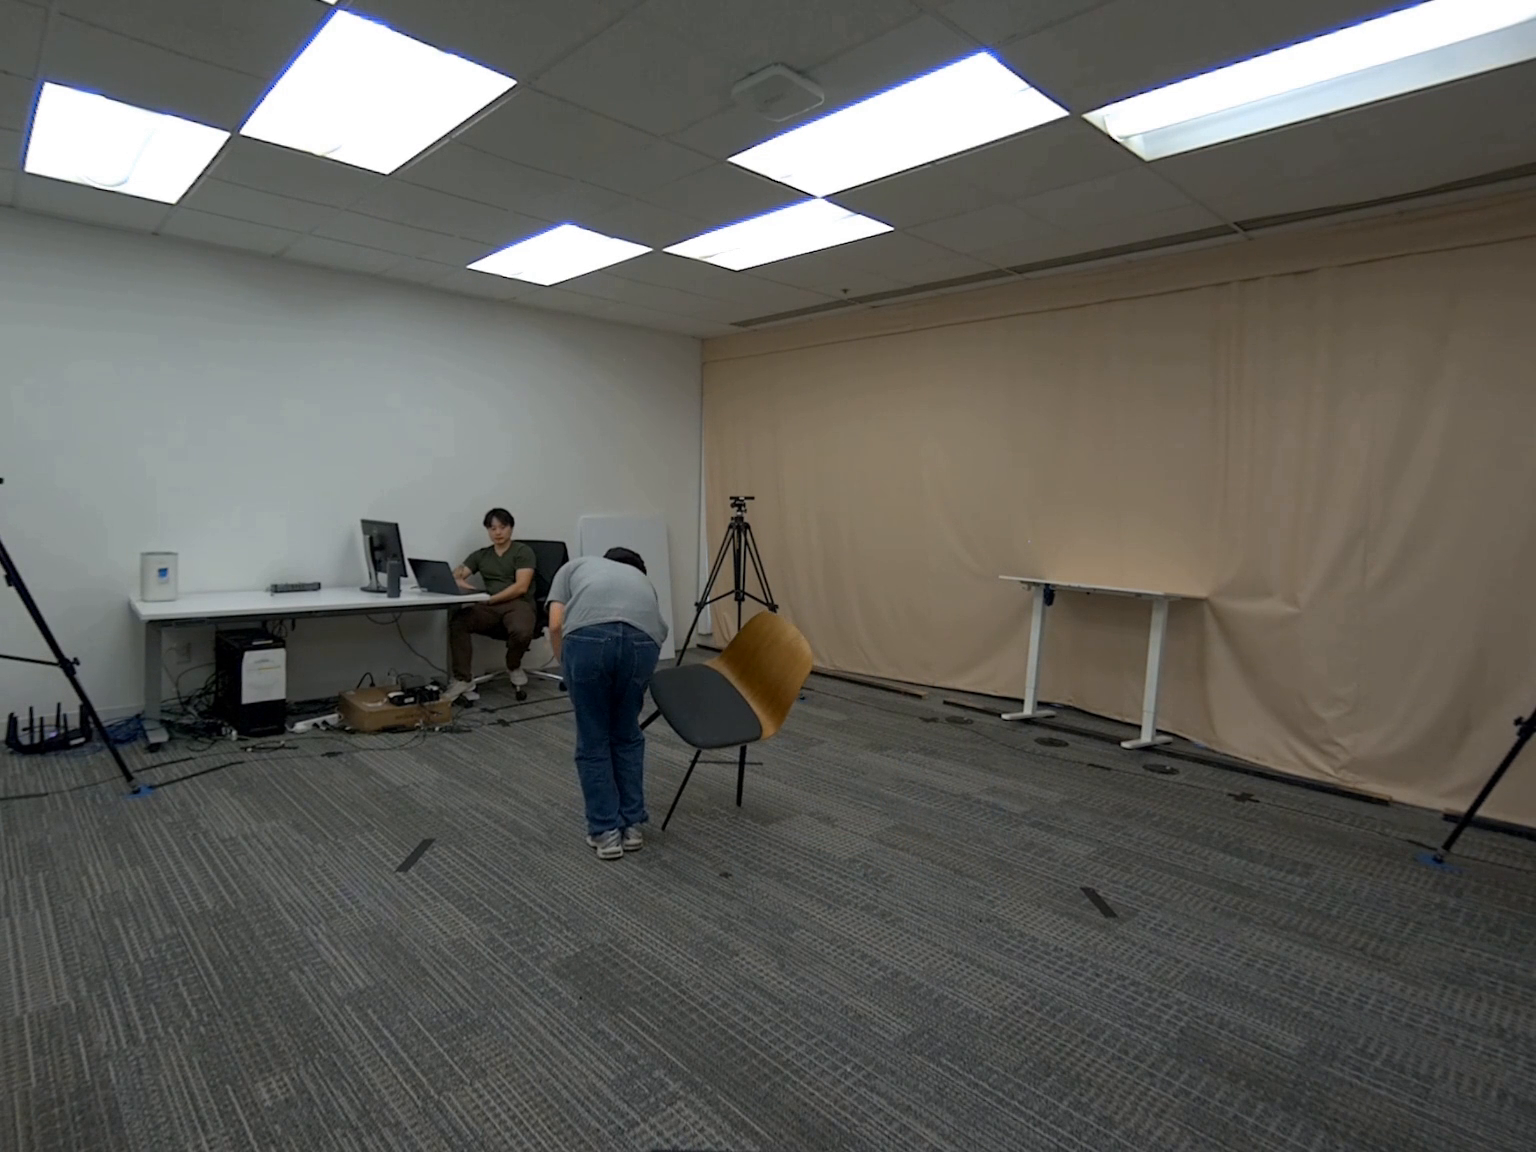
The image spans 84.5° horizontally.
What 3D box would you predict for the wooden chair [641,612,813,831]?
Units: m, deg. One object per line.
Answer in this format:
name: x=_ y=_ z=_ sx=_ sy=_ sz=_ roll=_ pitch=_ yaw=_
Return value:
wooden chair: x=-0.251 y=0.581 z=3.599 sx=0.510 sy=0.873 sz=0.493 roll=3 pitch=35 yaw=-47
